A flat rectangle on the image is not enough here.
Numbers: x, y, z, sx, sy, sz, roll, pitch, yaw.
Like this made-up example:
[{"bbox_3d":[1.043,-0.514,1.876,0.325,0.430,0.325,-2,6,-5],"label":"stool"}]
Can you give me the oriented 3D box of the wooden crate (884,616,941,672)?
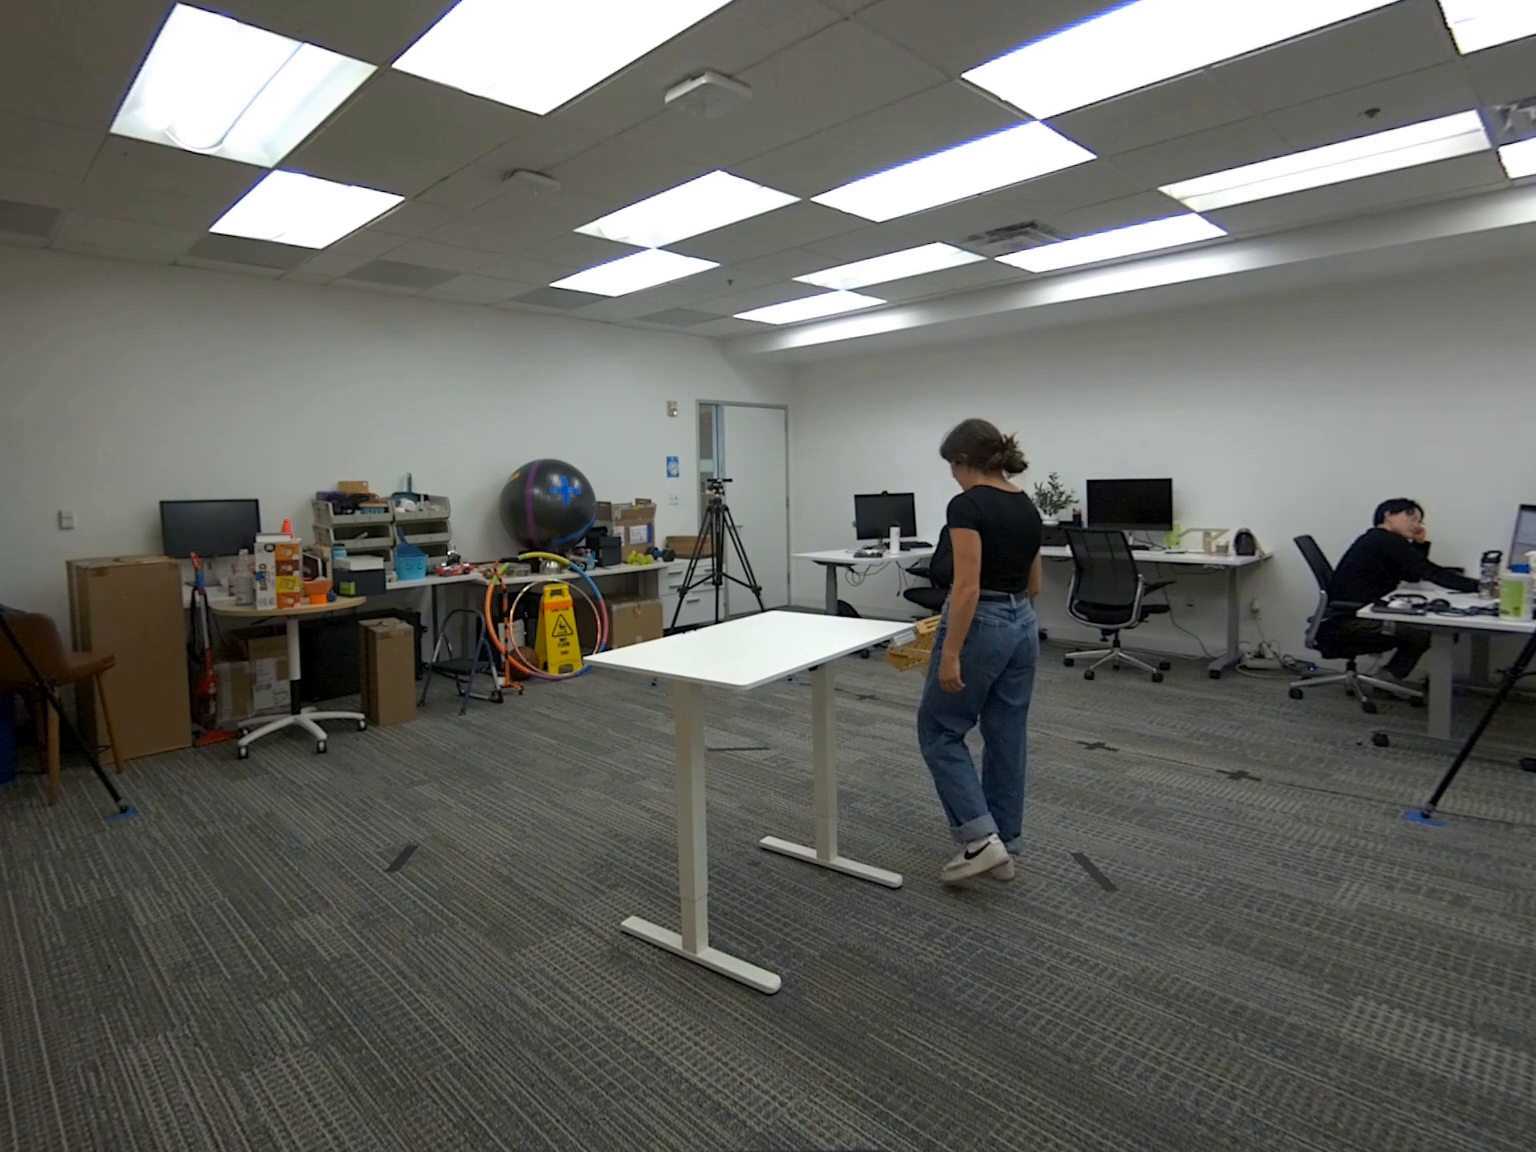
[{"bbox_3d":[0.698,0.254,3.371,0.316,0.298,0.283,-8,39,-46],"label":"wooden crate"}]
